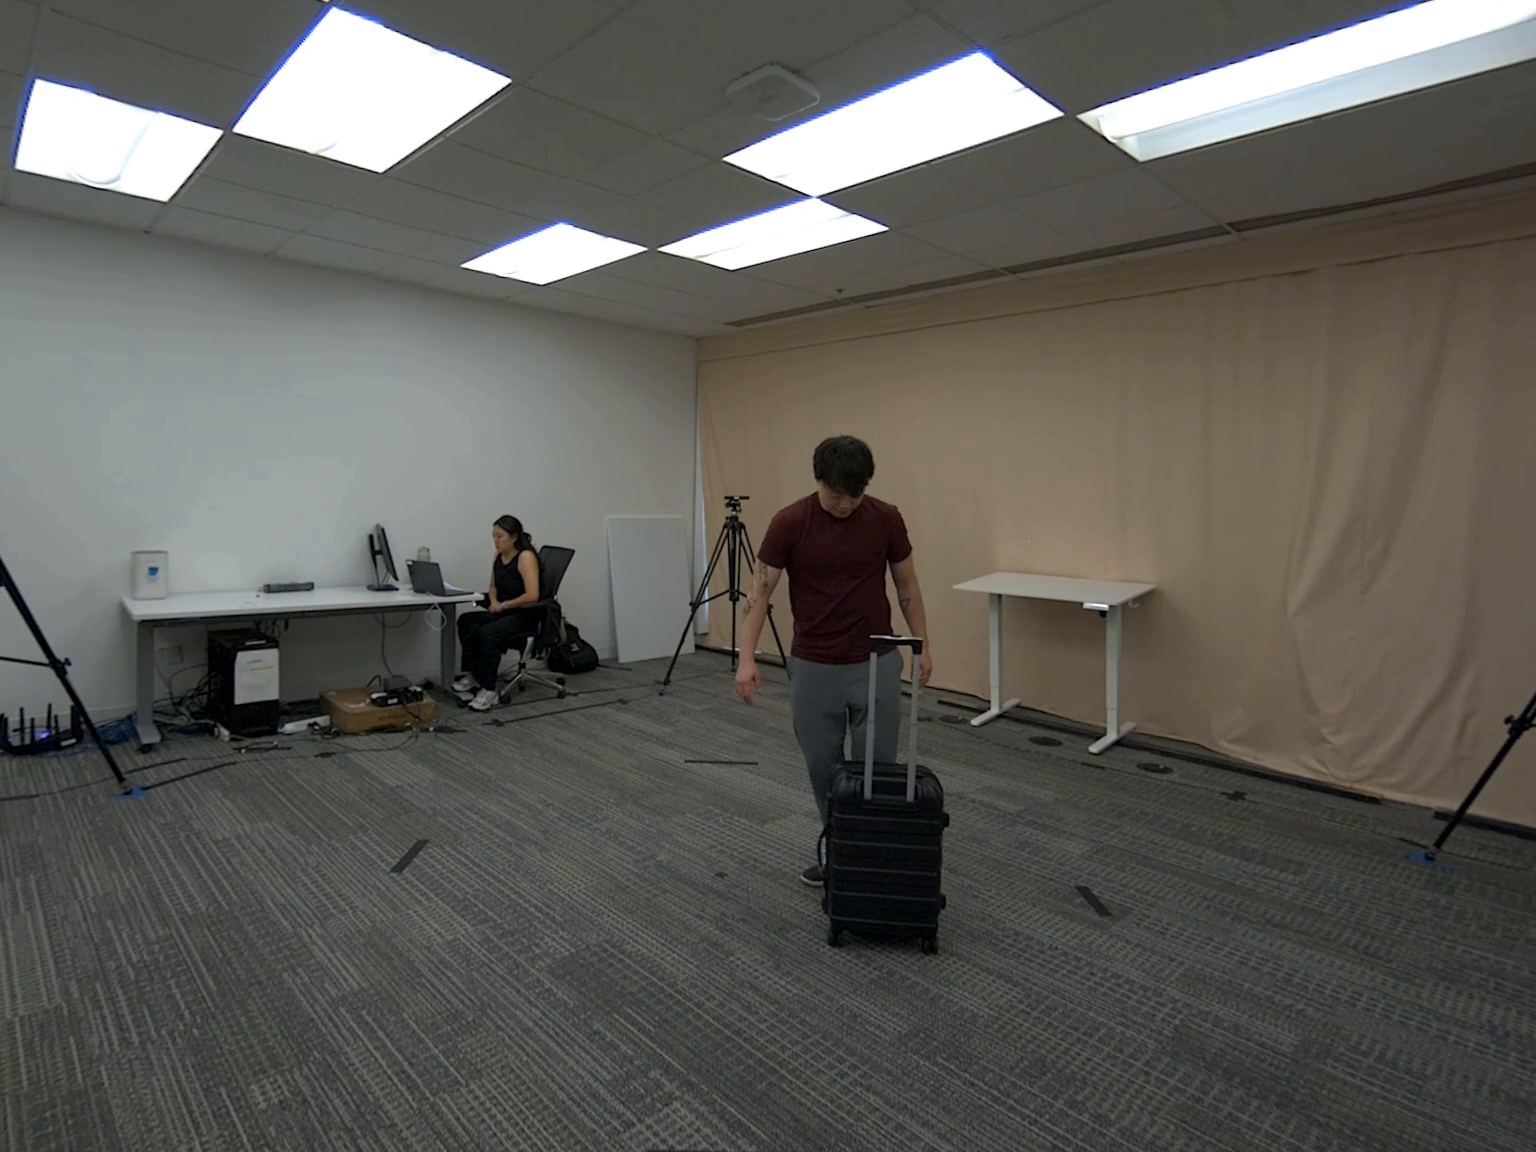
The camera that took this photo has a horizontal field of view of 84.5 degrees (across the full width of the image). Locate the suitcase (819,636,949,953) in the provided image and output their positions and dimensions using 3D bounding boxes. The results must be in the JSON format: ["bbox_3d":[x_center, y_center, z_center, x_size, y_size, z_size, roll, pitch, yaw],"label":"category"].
[{"bbox_3d":[0.369,0.676,2.673,0.386,0.976,0.256,2,4,5],"label":"suitcase"}]
